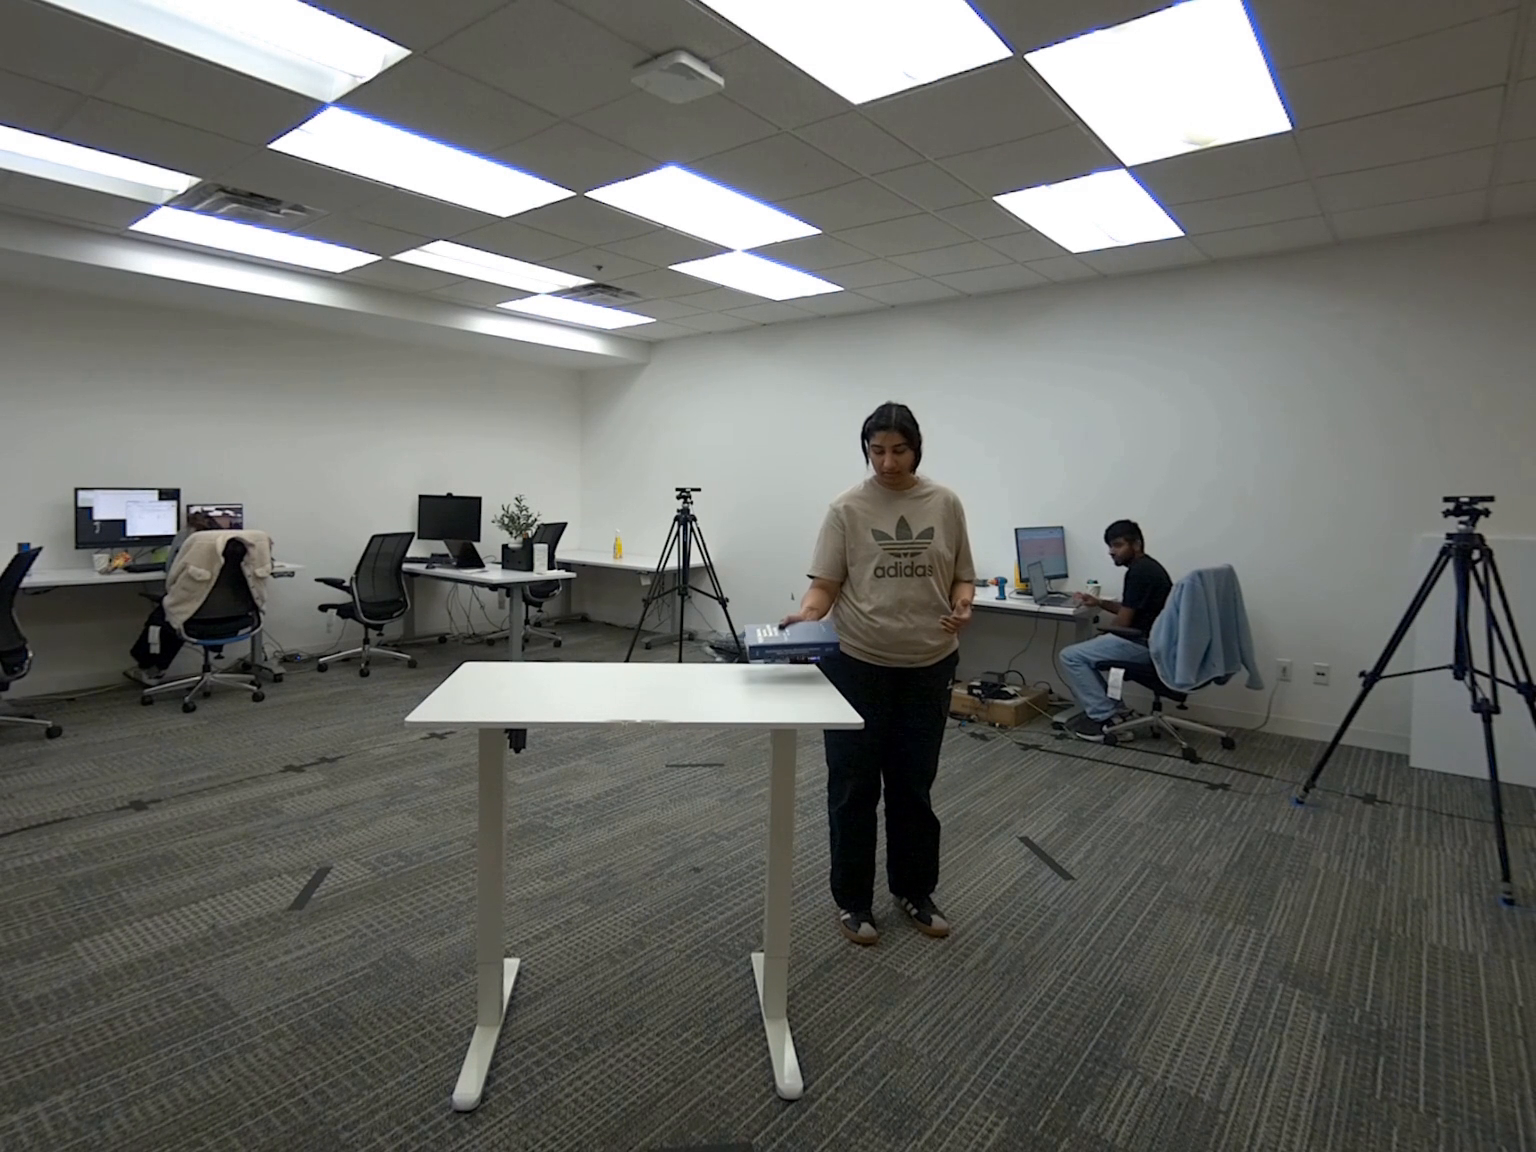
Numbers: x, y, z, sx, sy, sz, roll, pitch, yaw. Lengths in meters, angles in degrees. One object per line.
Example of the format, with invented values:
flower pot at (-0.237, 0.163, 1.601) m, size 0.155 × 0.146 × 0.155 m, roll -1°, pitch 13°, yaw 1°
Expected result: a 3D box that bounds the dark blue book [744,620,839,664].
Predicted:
dark blue book at (0.051, 0.173, 2.317) m, size 0.245 × 0.044 × 0.166 m, roll -3°, pitch 15°, yaw -2°
